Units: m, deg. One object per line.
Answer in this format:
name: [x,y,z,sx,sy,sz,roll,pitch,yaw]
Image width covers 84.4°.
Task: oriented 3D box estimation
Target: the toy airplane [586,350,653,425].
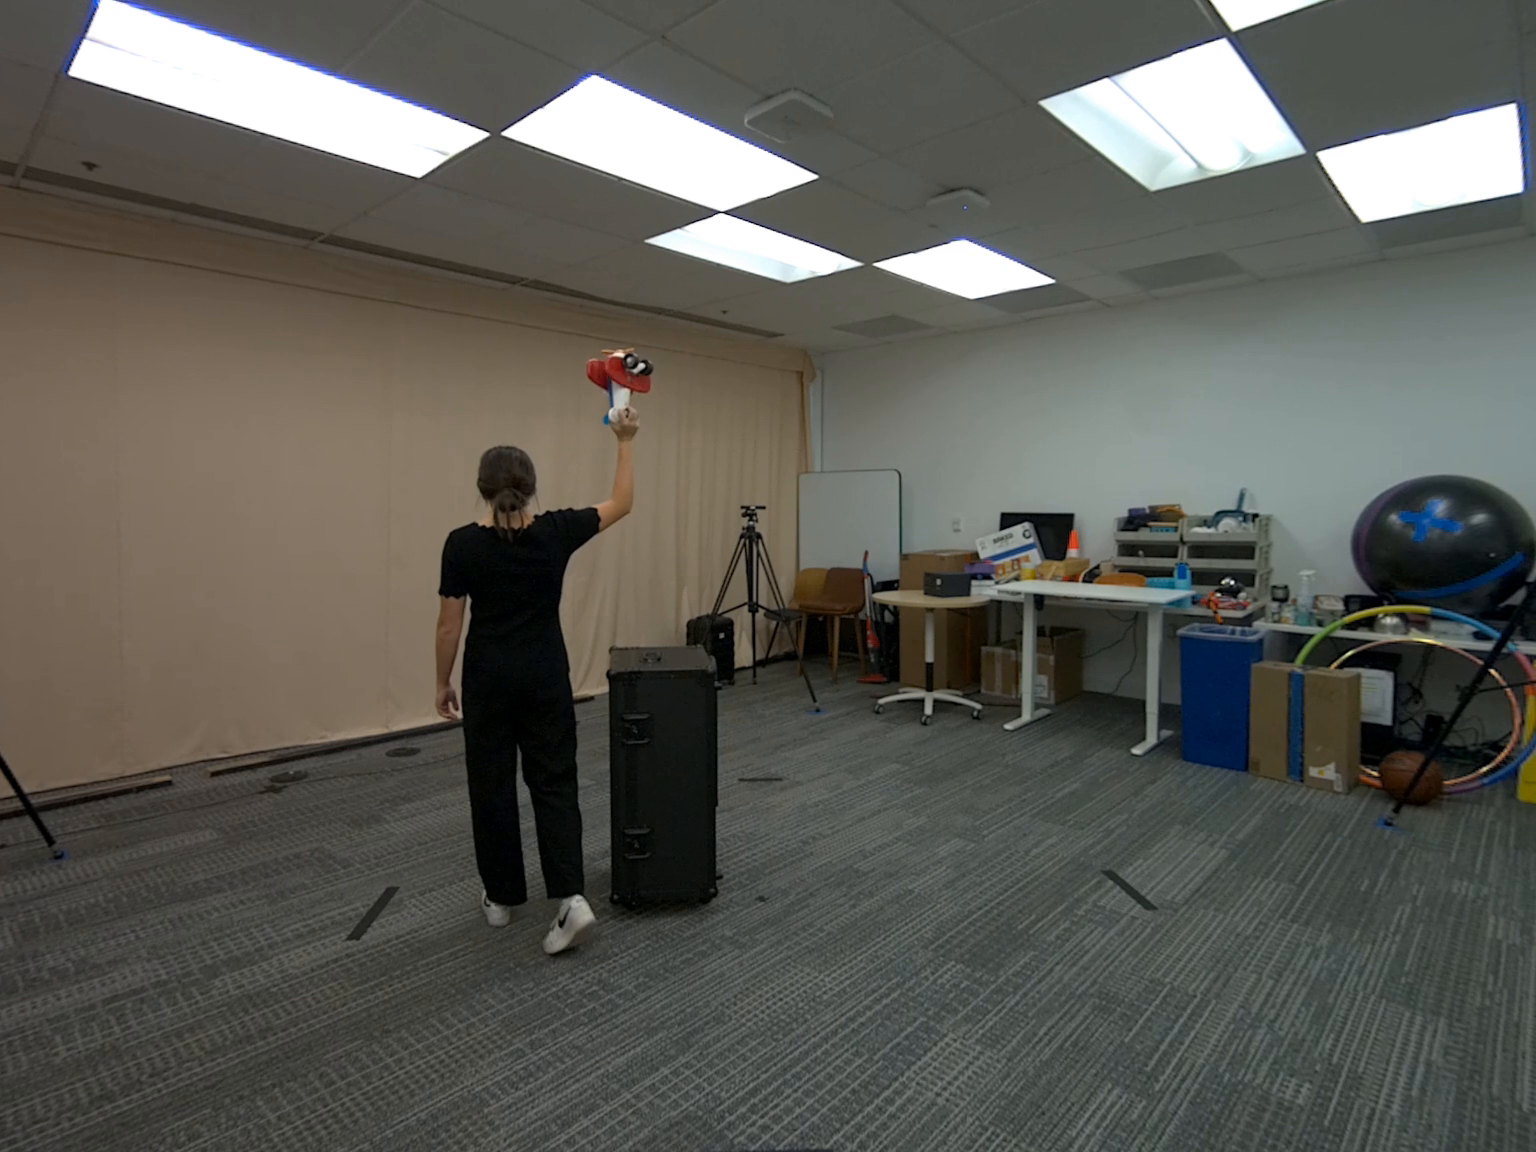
toy airplane: [-0.504,-0.653,2.905,0.161,0.260,0.243,12,-27,29]
